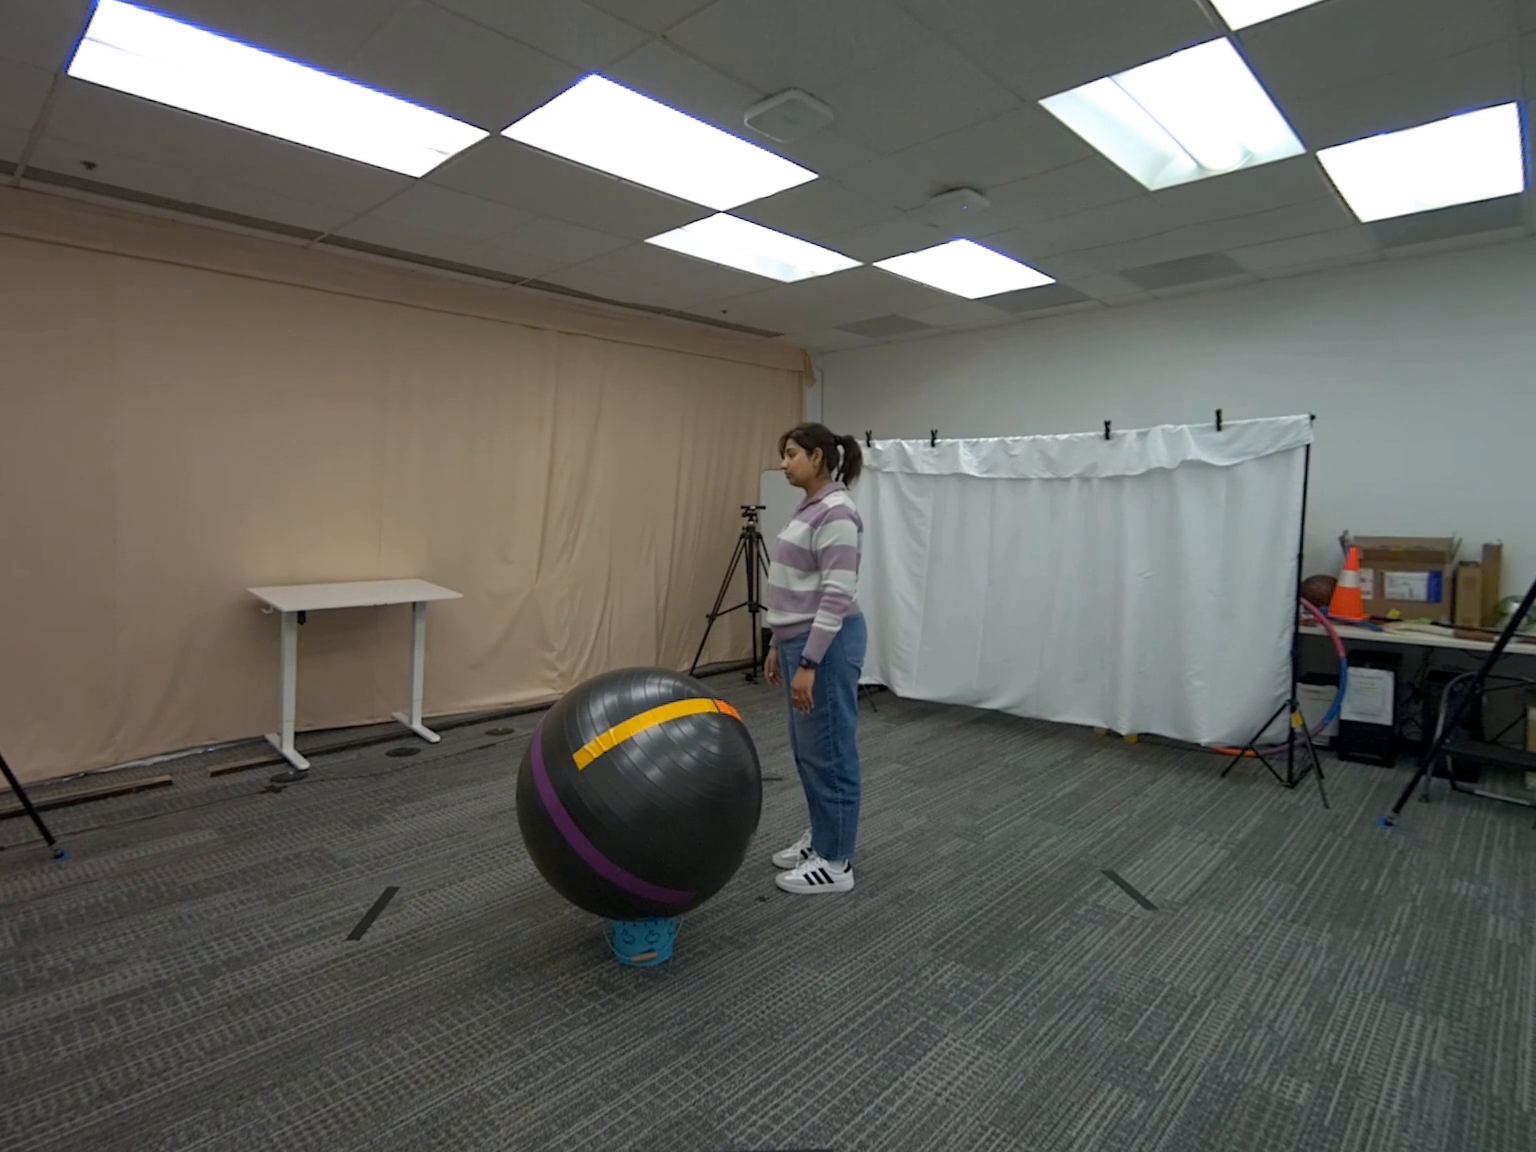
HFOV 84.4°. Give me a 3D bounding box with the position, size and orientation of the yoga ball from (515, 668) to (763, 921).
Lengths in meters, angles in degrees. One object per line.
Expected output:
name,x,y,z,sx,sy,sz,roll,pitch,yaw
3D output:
yoga ball,-0.402,0.676,2.610,0.757,0.756,0.761,0,4,-2
